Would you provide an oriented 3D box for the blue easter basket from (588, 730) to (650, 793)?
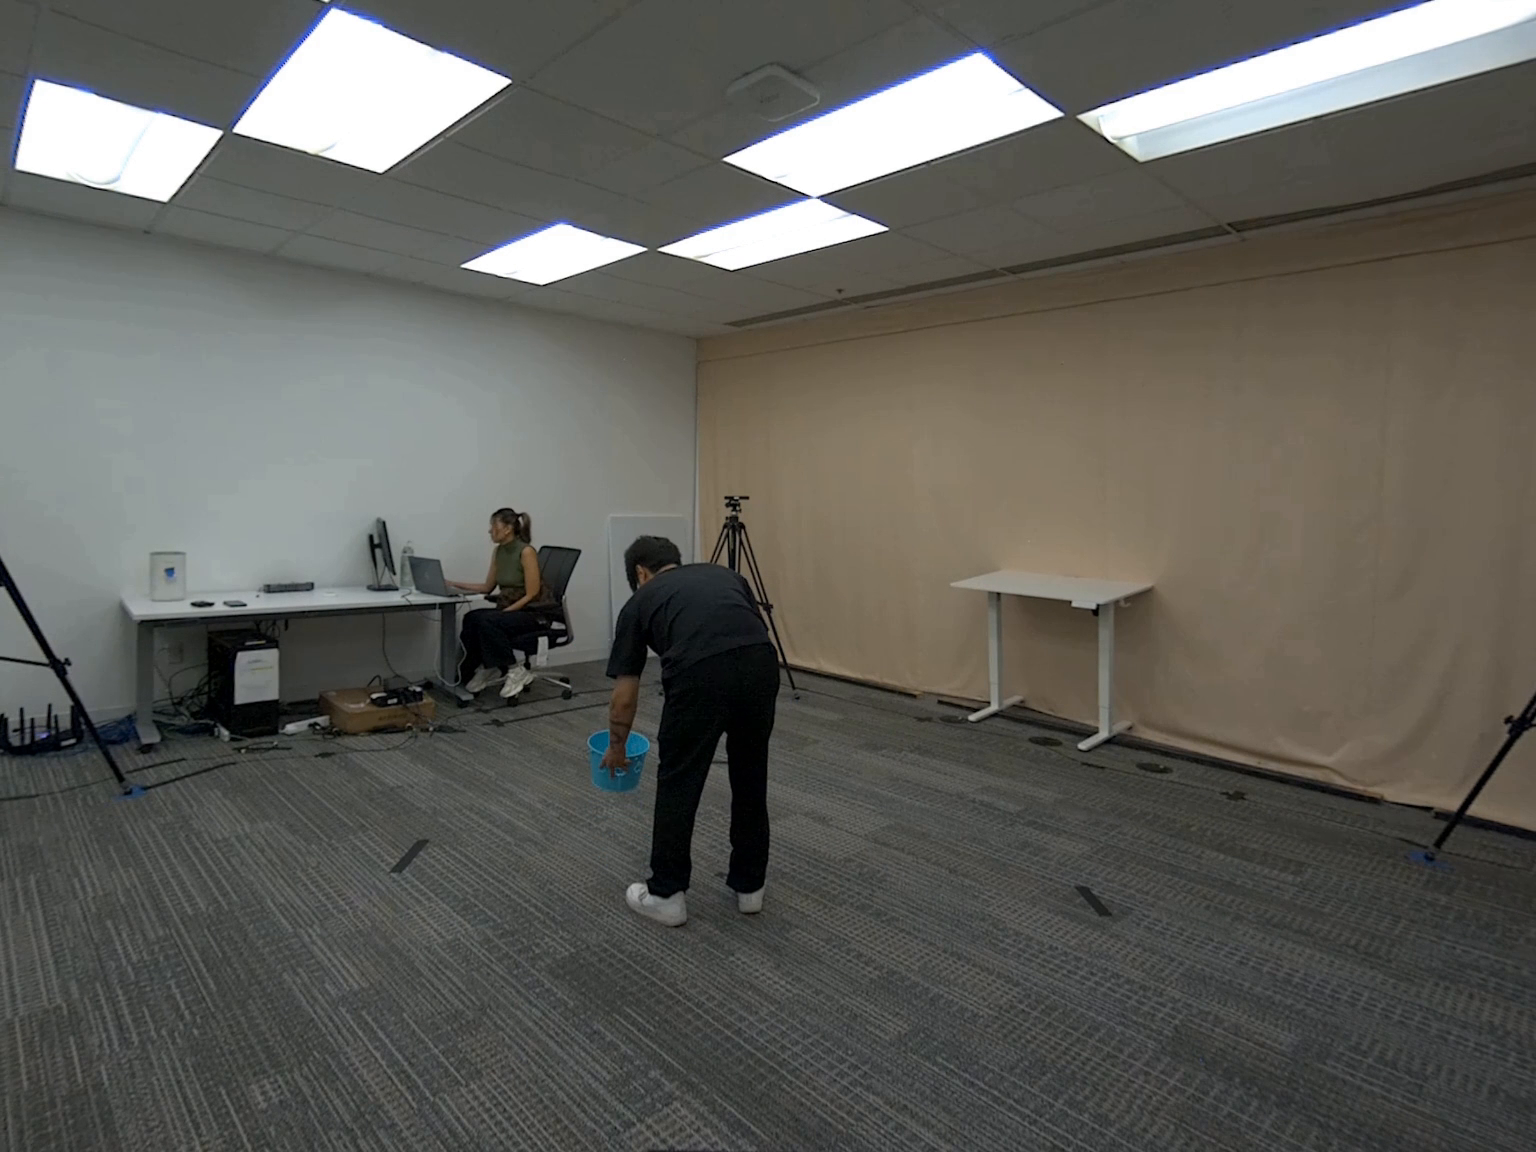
[{"bbox_3d":[-0.577,0.703,3.163,0.243,0.155,0.246,8,12,-3],"label":"blue easter basket"}]
